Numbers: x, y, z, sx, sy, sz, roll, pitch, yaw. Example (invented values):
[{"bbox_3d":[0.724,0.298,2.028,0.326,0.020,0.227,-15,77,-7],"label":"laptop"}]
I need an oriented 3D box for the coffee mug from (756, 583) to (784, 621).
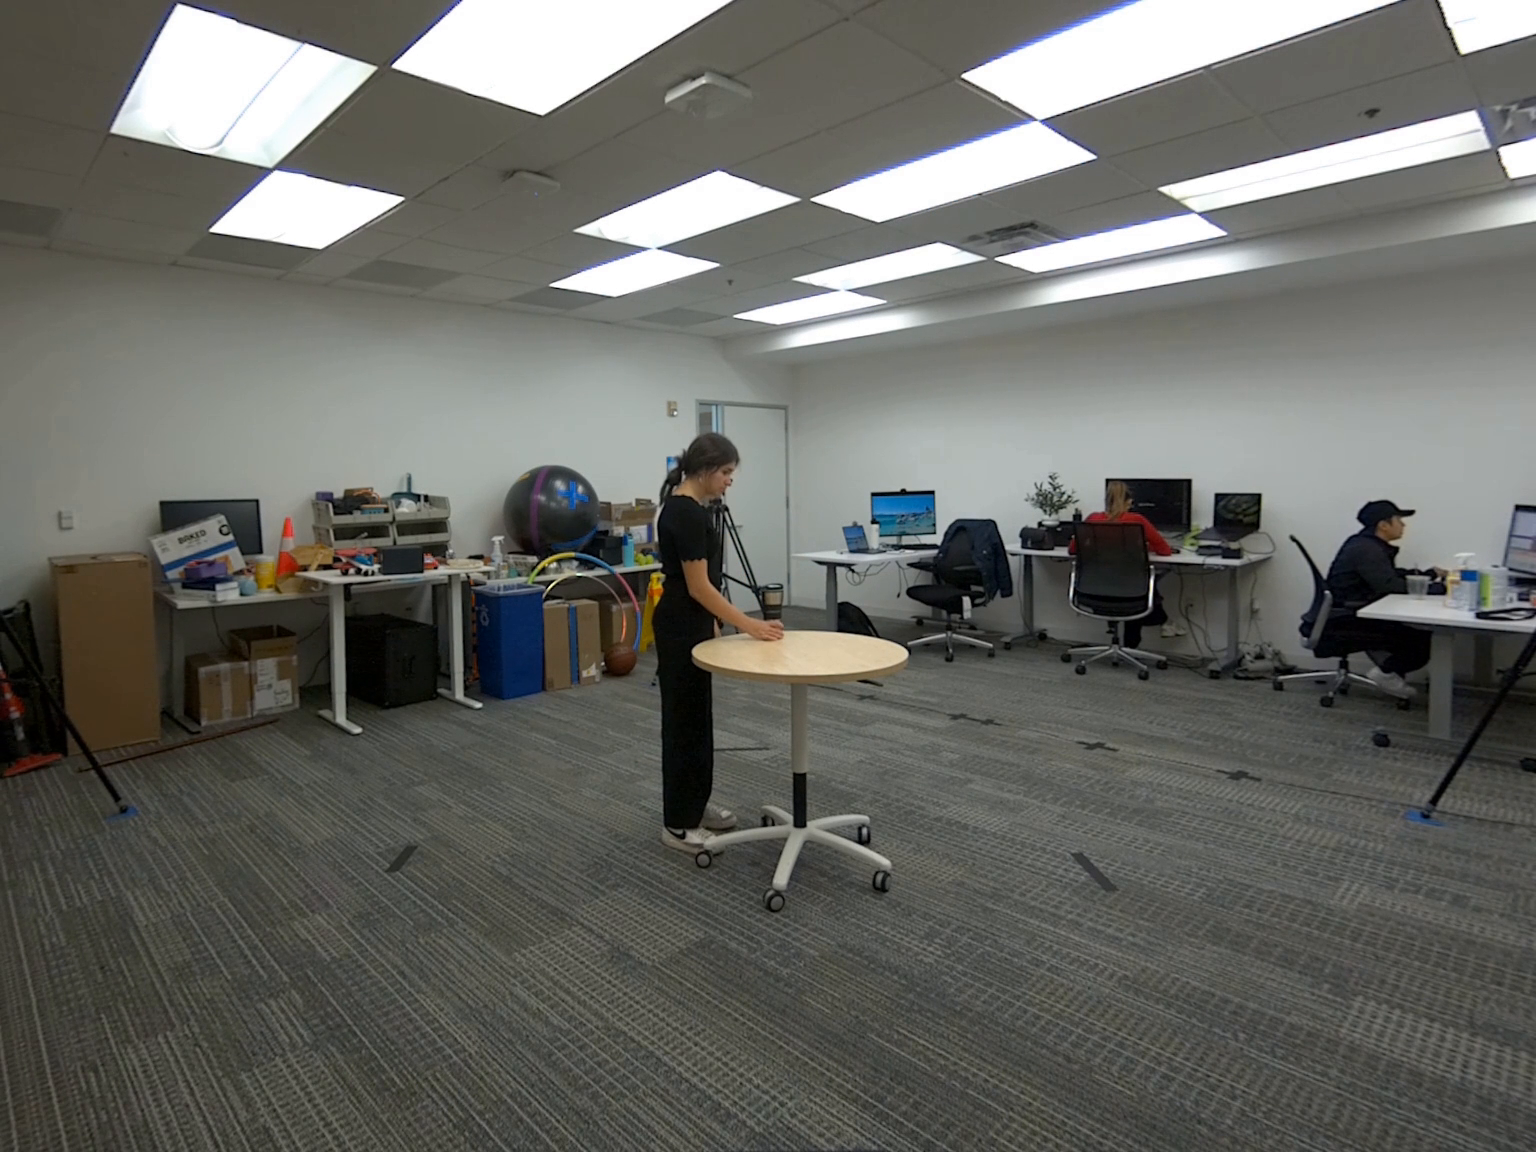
[{"bbox_3d":[0.027,0.132,3.319,0.090,0.202,0.119,1,8,43],"label":"coffee mug"}]
